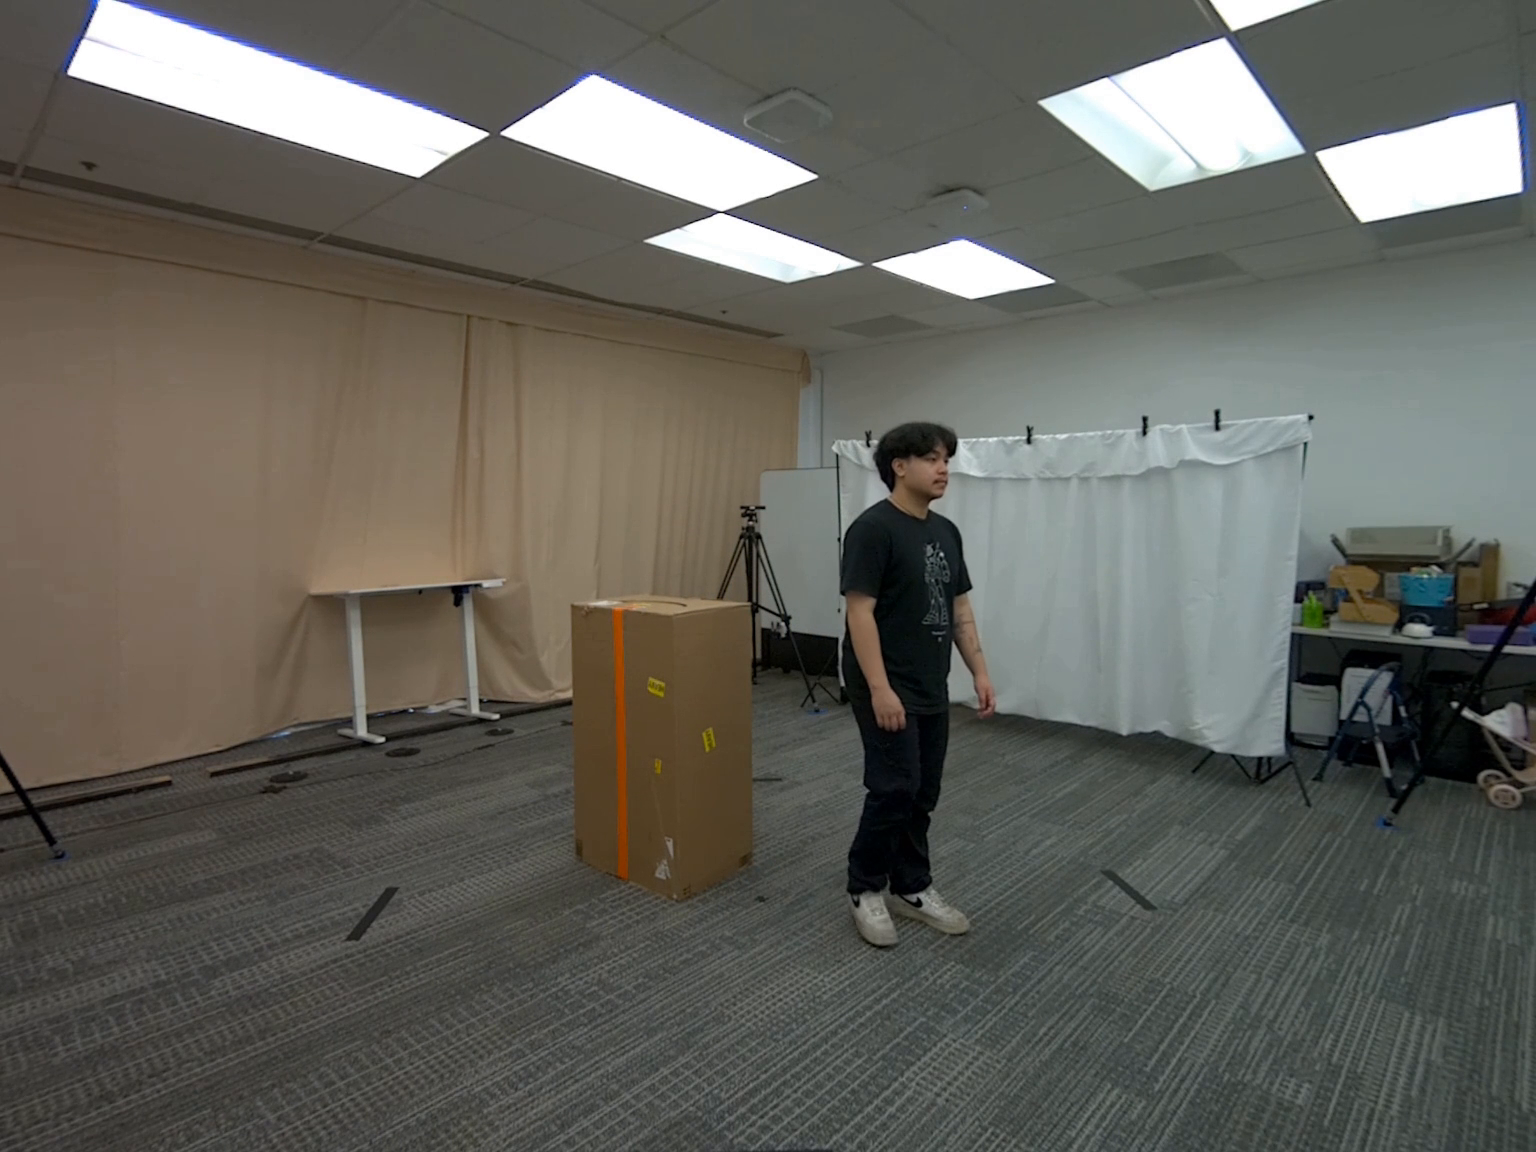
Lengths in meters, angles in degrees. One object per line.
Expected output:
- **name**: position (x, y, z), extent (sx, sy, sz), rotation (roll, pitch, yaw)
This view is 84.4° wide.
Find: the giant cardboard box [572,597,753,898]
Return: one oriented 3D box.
- **giant cardboard box**: position (-0.418, 0.612, 3.286), extent (0.603, 1.025, 0.433), rotation (2, 4, 41)
